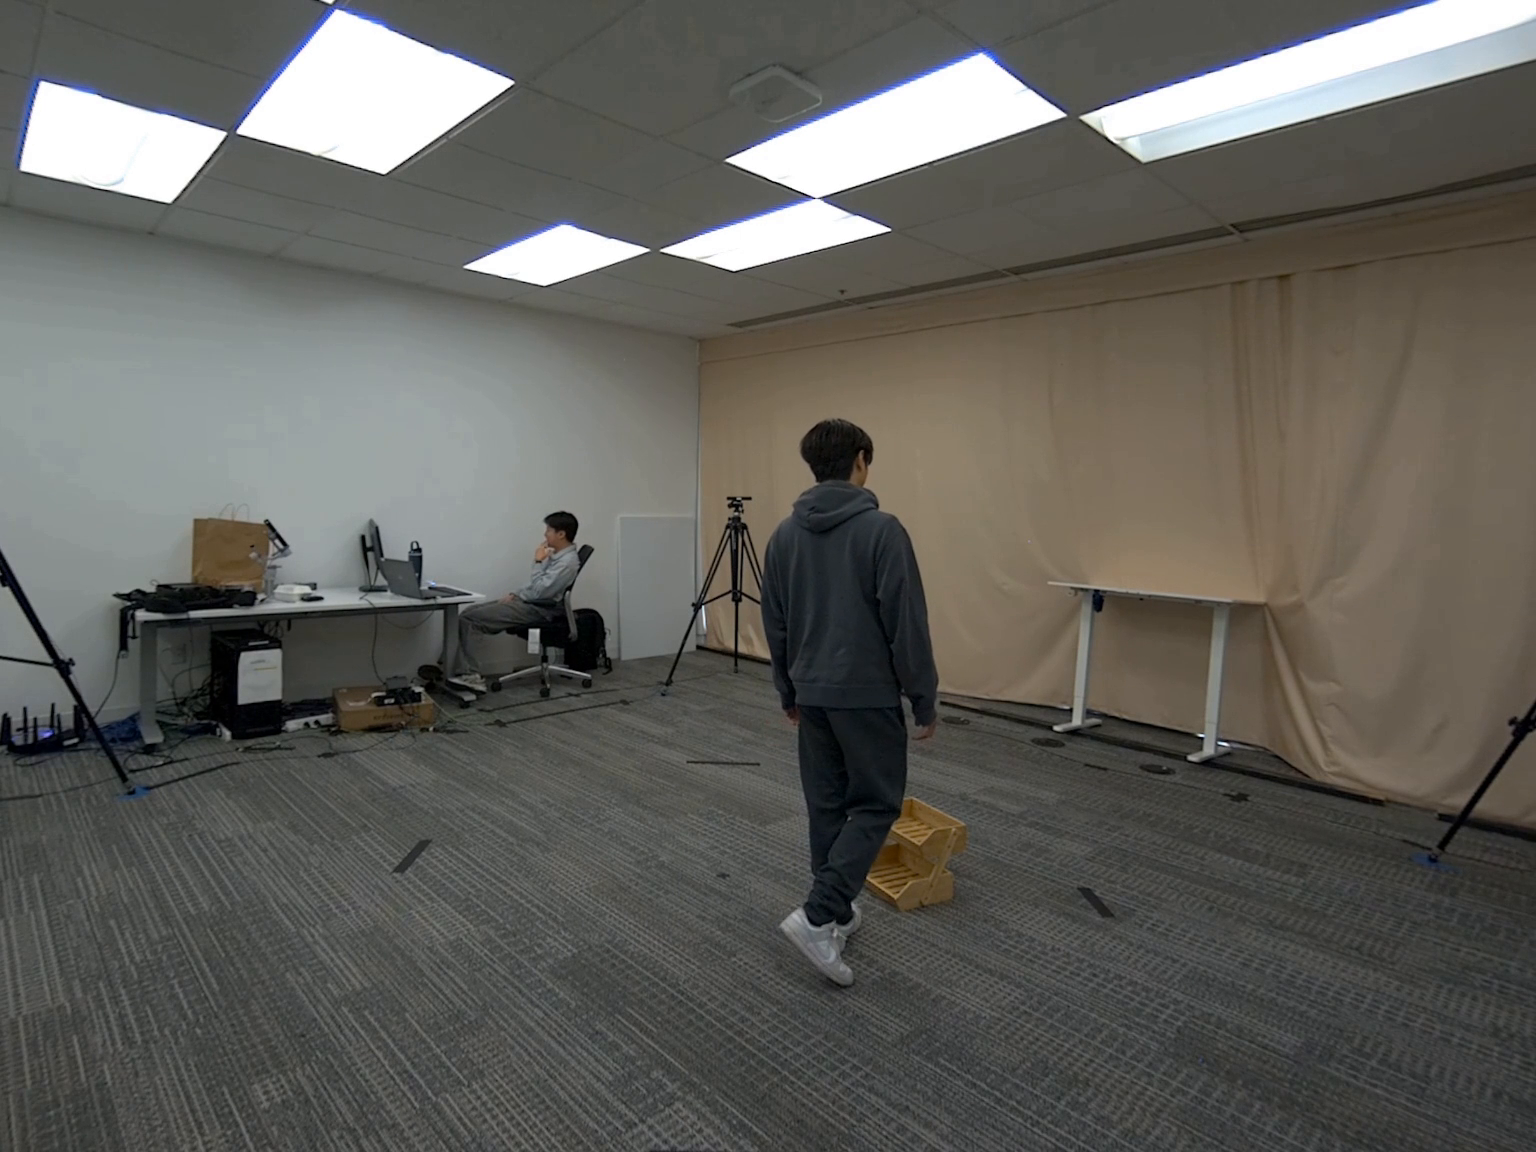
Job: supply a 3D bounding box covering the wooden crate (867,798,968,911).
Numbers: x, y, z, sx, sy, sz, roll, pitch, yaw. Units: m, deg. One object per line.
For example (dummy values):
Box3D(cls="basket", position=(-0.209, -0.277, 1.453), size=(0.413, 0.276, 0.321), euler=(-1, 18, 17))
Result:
Box3D(cls="wooden crate", position=(0.493, 0.993, 3.047), size=(0.296, 0.273, 0.331), euler=(0, 4, -28))
